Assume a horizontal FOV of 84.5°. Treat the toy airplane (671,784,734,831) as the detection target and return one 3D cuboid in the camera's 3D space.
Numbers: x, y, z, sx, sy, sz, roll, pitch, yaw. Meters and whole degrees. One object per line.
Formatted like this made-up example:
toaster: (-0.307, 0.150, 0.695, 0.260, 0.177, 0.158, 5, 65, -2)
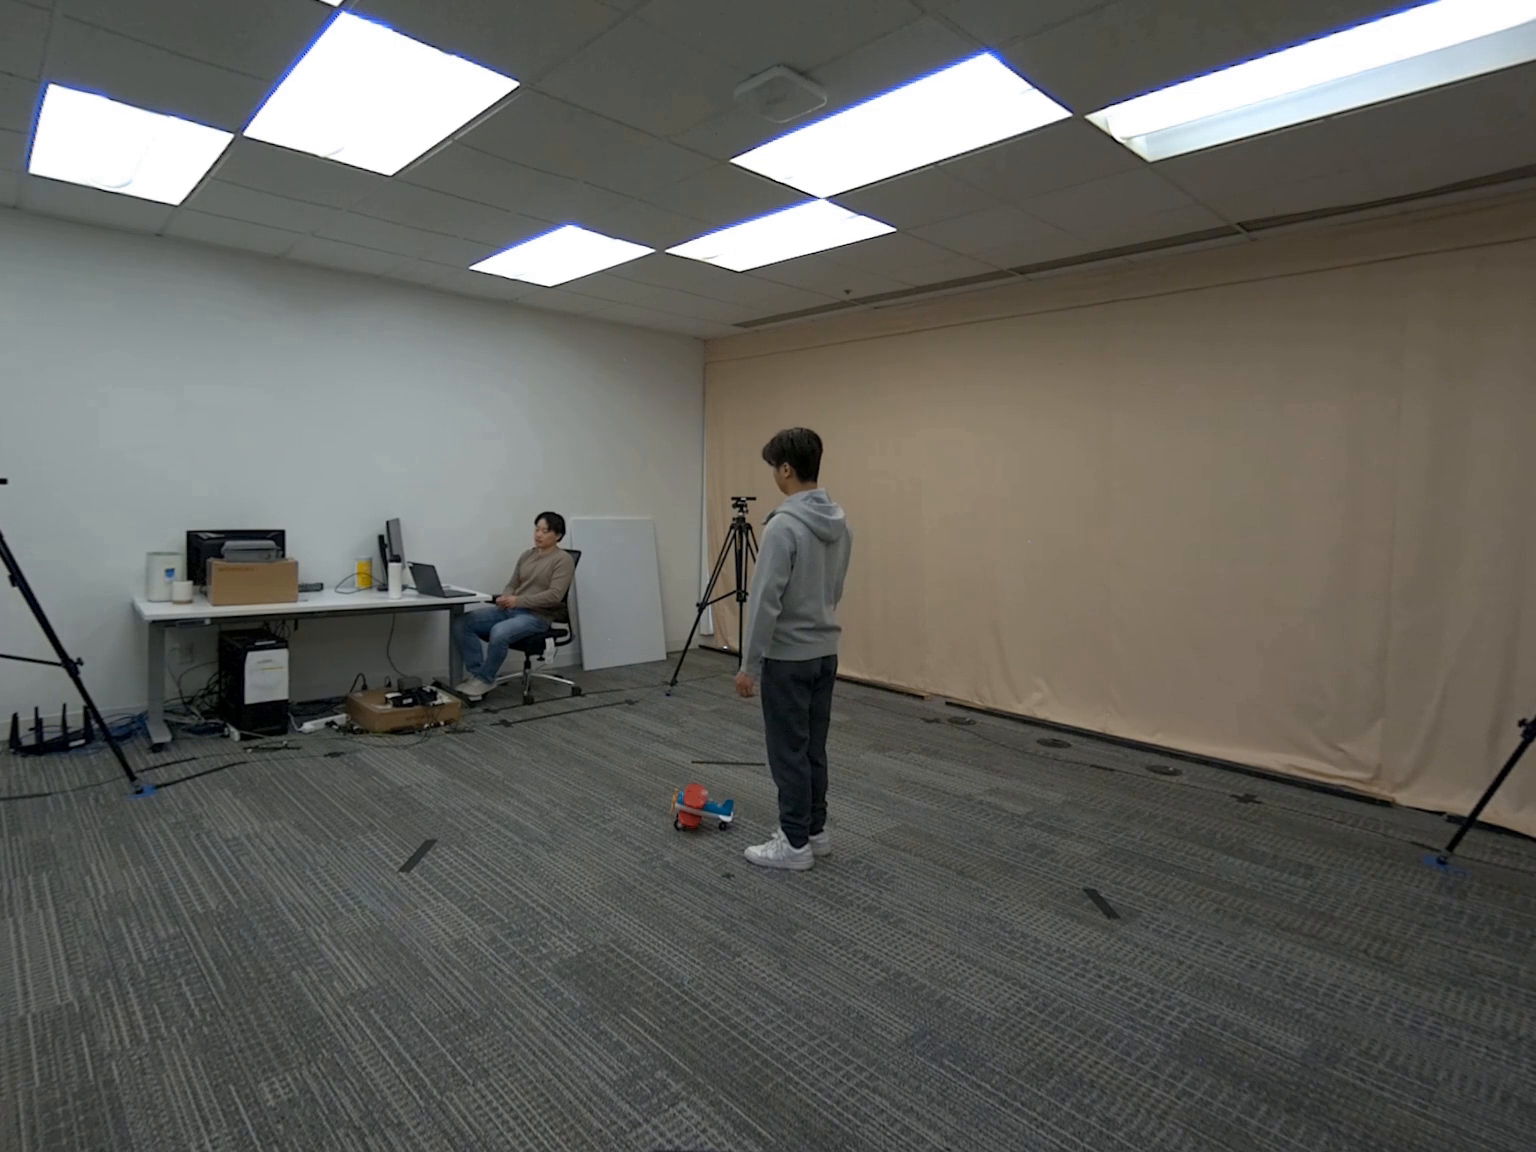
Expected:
toy airplane: (-0.286, 0.985, 3.576, 0.254, 0.156, 0.256, -1, 5, -26)
